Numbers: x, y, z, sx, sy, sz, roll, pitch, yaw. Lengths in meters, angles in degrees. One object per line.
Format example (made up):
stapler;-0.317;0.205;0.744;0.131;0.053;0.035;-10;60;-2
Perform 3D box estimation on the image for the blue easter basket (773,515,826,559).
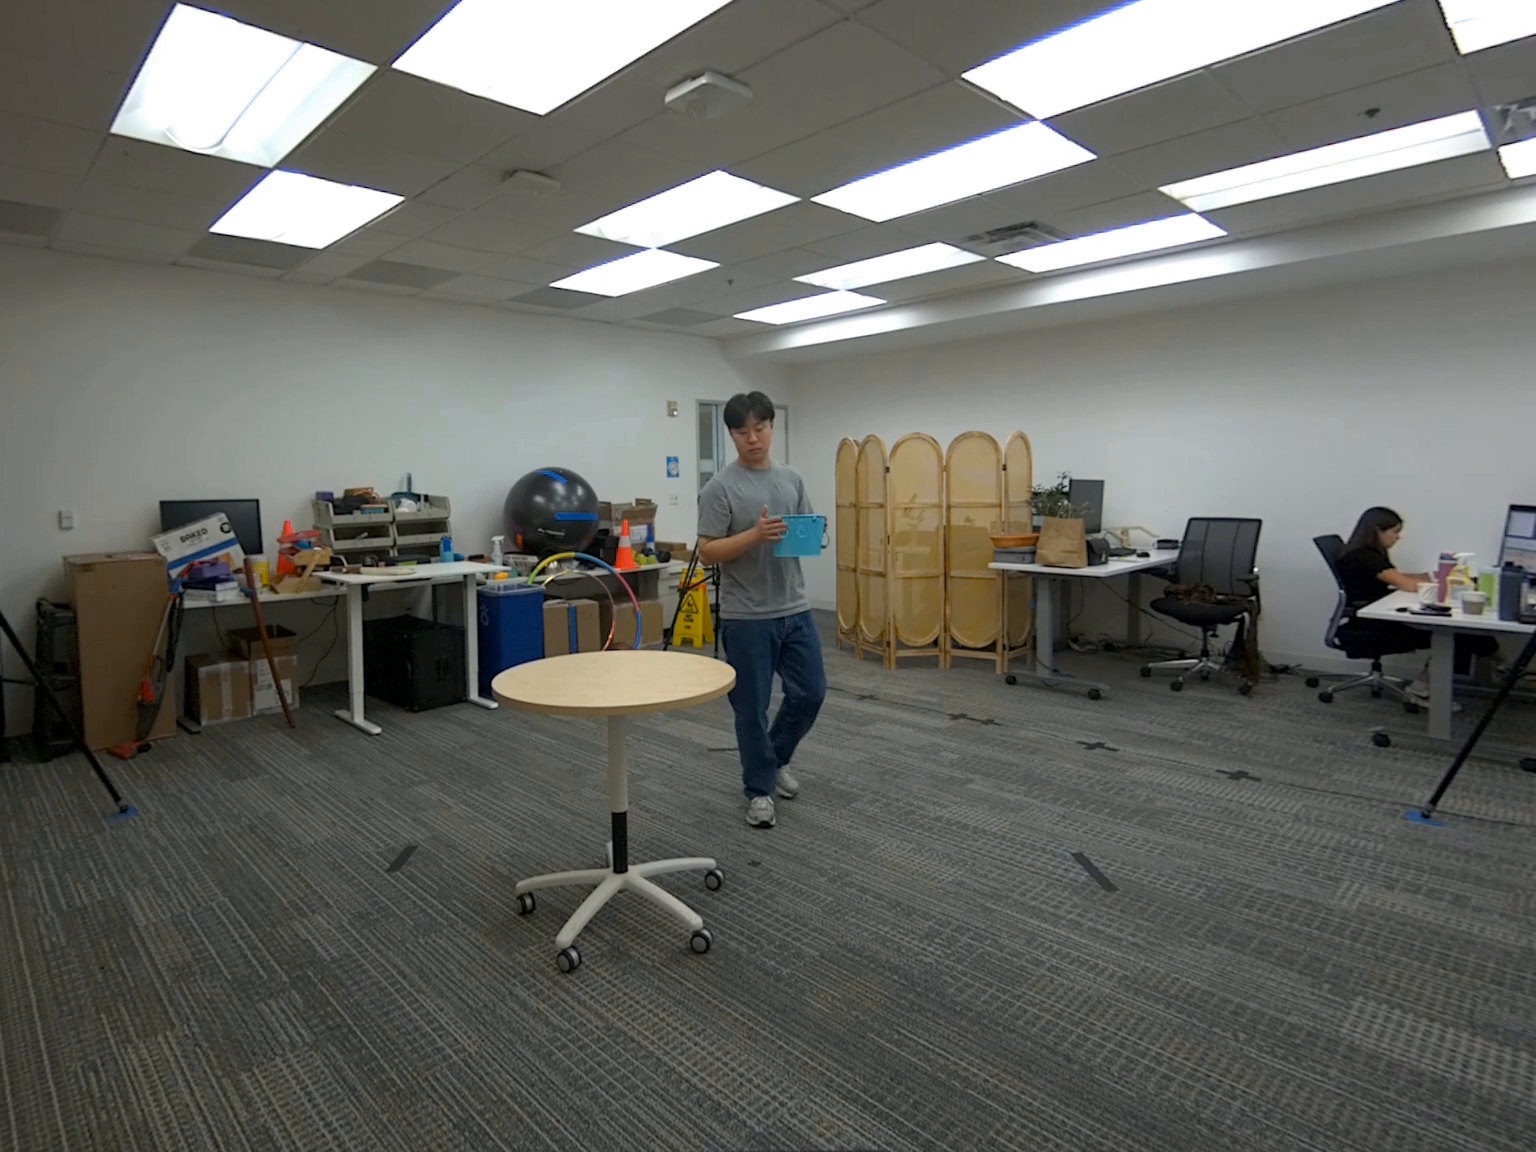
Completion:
blue easter basket;0.091;-0.142;3.277;0.243;0.156;0.243;-2;0;-2
